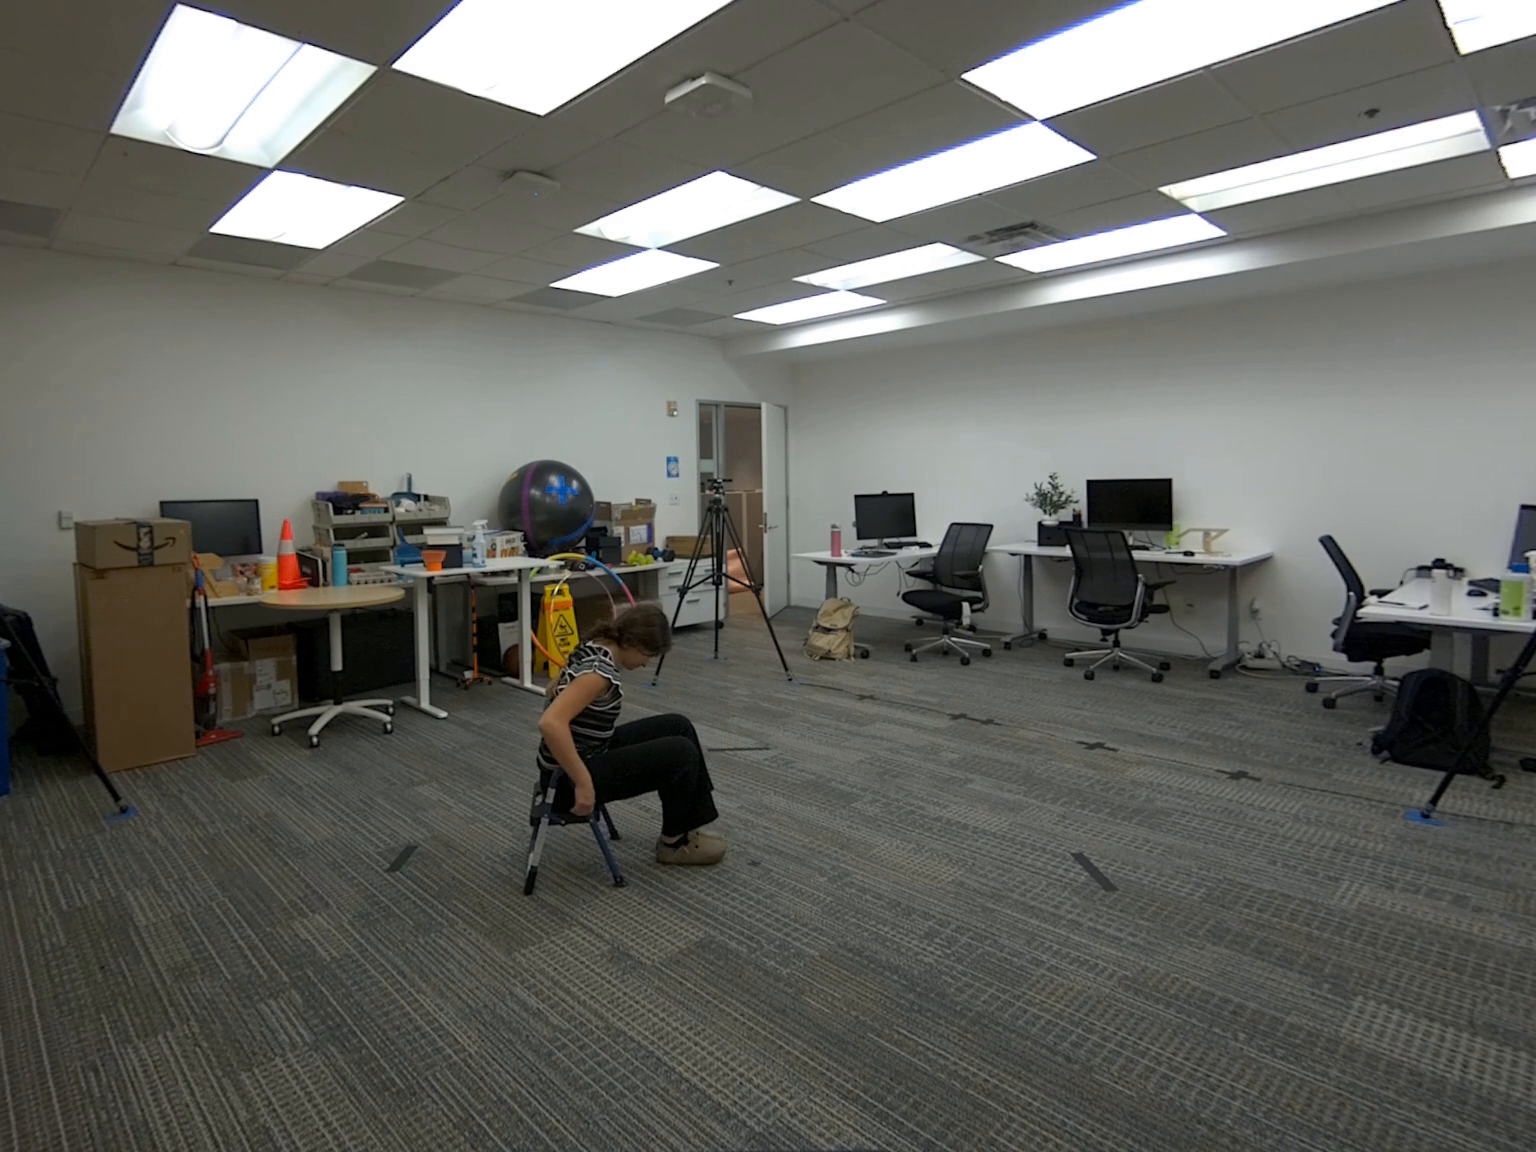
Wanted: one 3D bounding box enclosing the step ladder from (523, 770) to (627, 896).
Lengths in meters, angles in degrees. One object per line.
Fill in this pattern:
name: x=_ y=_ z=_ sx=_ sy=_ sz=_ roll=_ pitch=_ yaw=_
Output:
step ladder: x=-0.709 y=0.766 z=3.107 sx=0.346 sy=0.604 sz=0.436 roll=-2 pitch=3 yaw=-12
